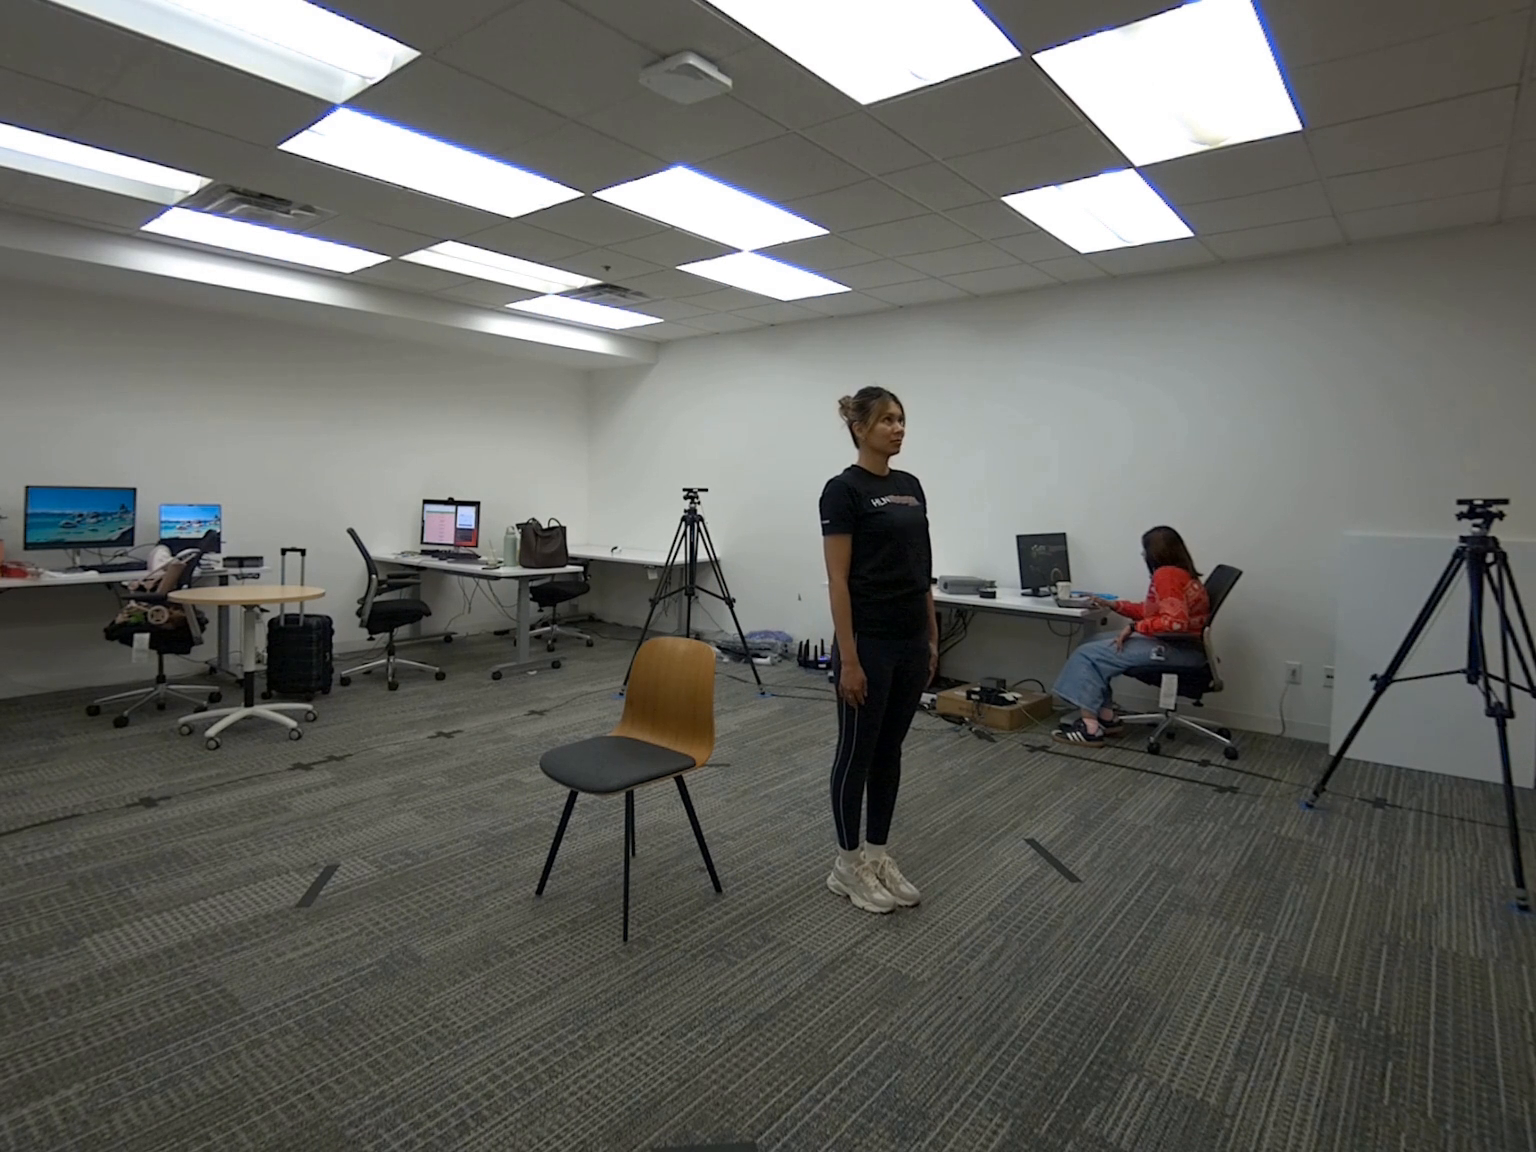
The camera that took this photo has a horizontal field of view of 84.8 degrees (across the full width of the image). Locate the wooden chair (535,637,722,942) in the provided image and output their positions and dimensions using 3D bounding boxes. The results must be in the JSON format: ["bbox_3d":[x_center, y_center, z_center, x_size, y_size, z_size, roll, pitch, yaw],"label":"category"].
[{"bbox_3d":[-0.482,0.662,2.878,0.494,0.878,0.506,3,0,39],"label":"wooden chair"}]
